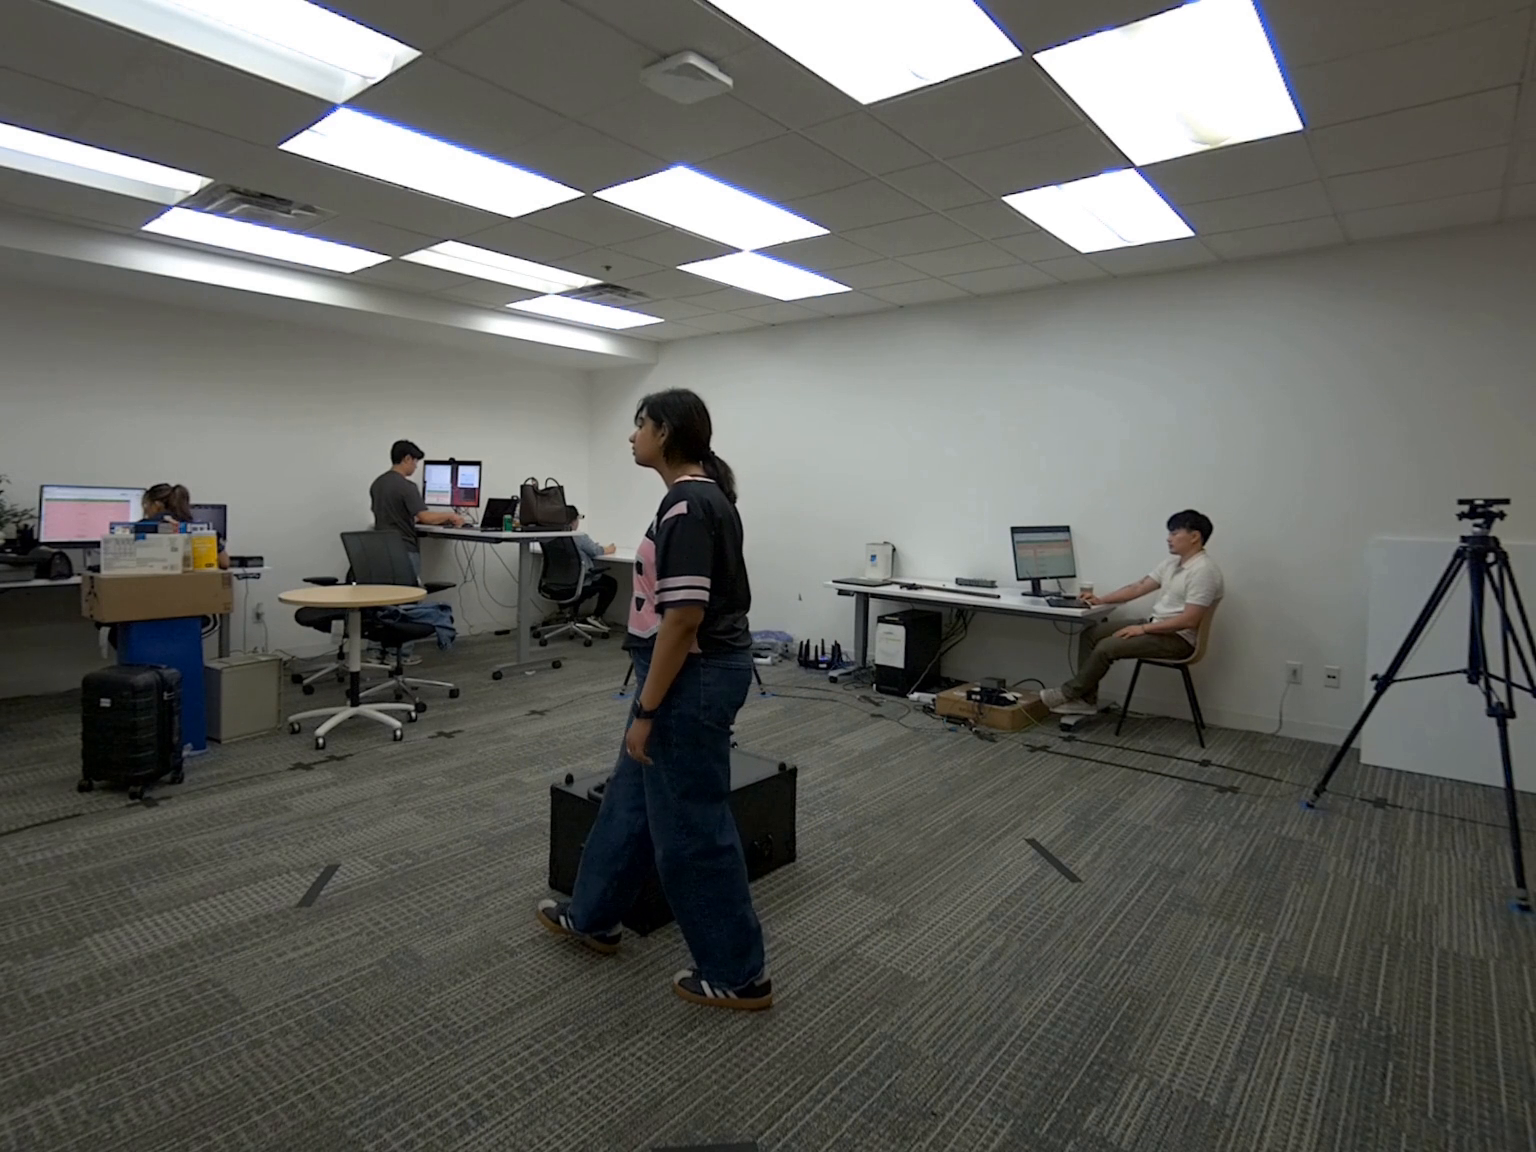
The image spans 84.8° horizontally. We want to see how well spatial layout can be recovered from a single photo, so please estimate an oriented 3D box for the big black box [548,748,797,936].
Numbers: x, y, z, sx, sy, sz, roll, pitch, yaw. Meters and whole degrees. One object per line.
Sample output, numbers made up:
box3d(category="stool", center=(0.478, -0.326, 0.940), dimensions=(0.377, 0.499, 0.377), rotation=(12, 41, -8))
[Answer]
box3d(category="big black box", center=(-0.317, 0.885, 3.093), dimensions=(0.541, 0.384, 0.843), rotation=(3, 5, 40))
